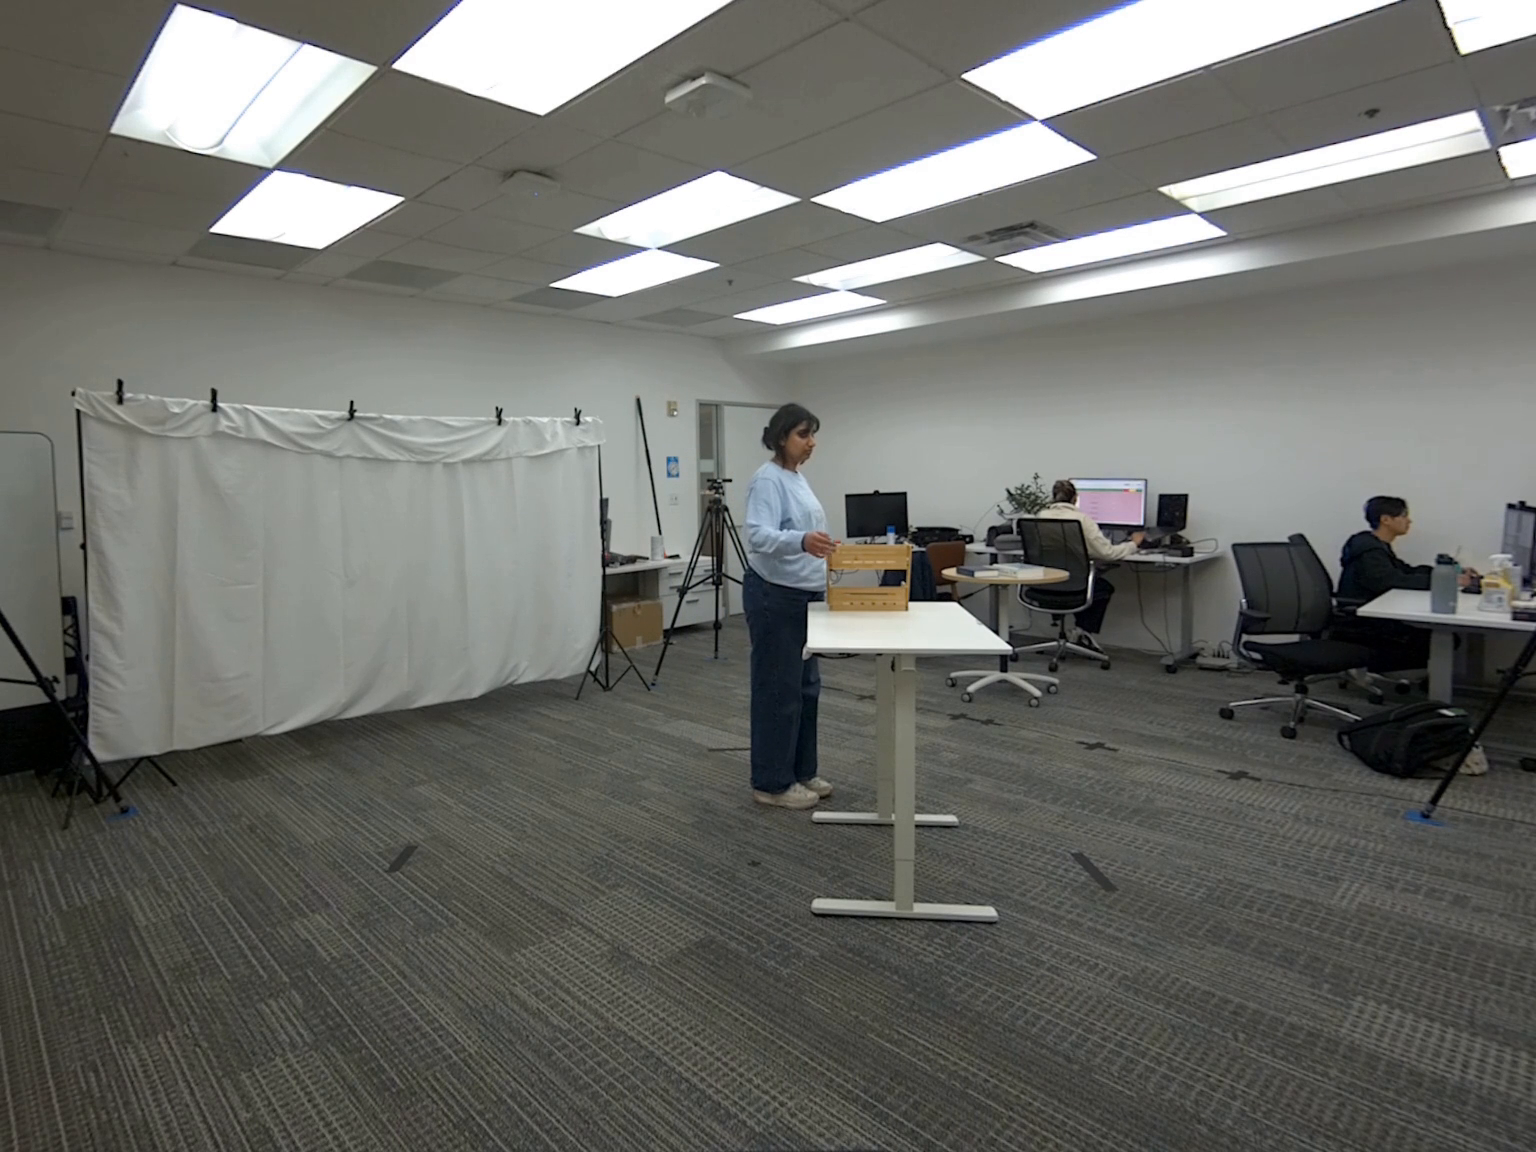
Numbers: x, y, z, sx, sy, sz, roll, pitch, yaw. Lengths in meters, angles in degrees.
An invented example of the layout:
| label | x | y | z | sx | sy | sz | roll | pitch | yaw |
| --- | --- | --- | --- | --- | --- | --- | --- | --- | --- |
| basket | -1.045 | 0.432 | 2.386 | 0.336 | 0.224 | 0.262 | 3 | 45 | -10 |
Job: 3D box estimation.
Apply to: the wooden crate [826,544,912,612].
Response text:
| label | x | y | z | sx | sy | sz | roll | pitch | yaw |
| --- | --- | --- | --- | --- | --- | --- | --- | --- | --- |
| wooden crate | 0.403 | -0.004 | 3.396 | 0.327 | 0.272 | 0.301 | 1 | 5 | 6 |
